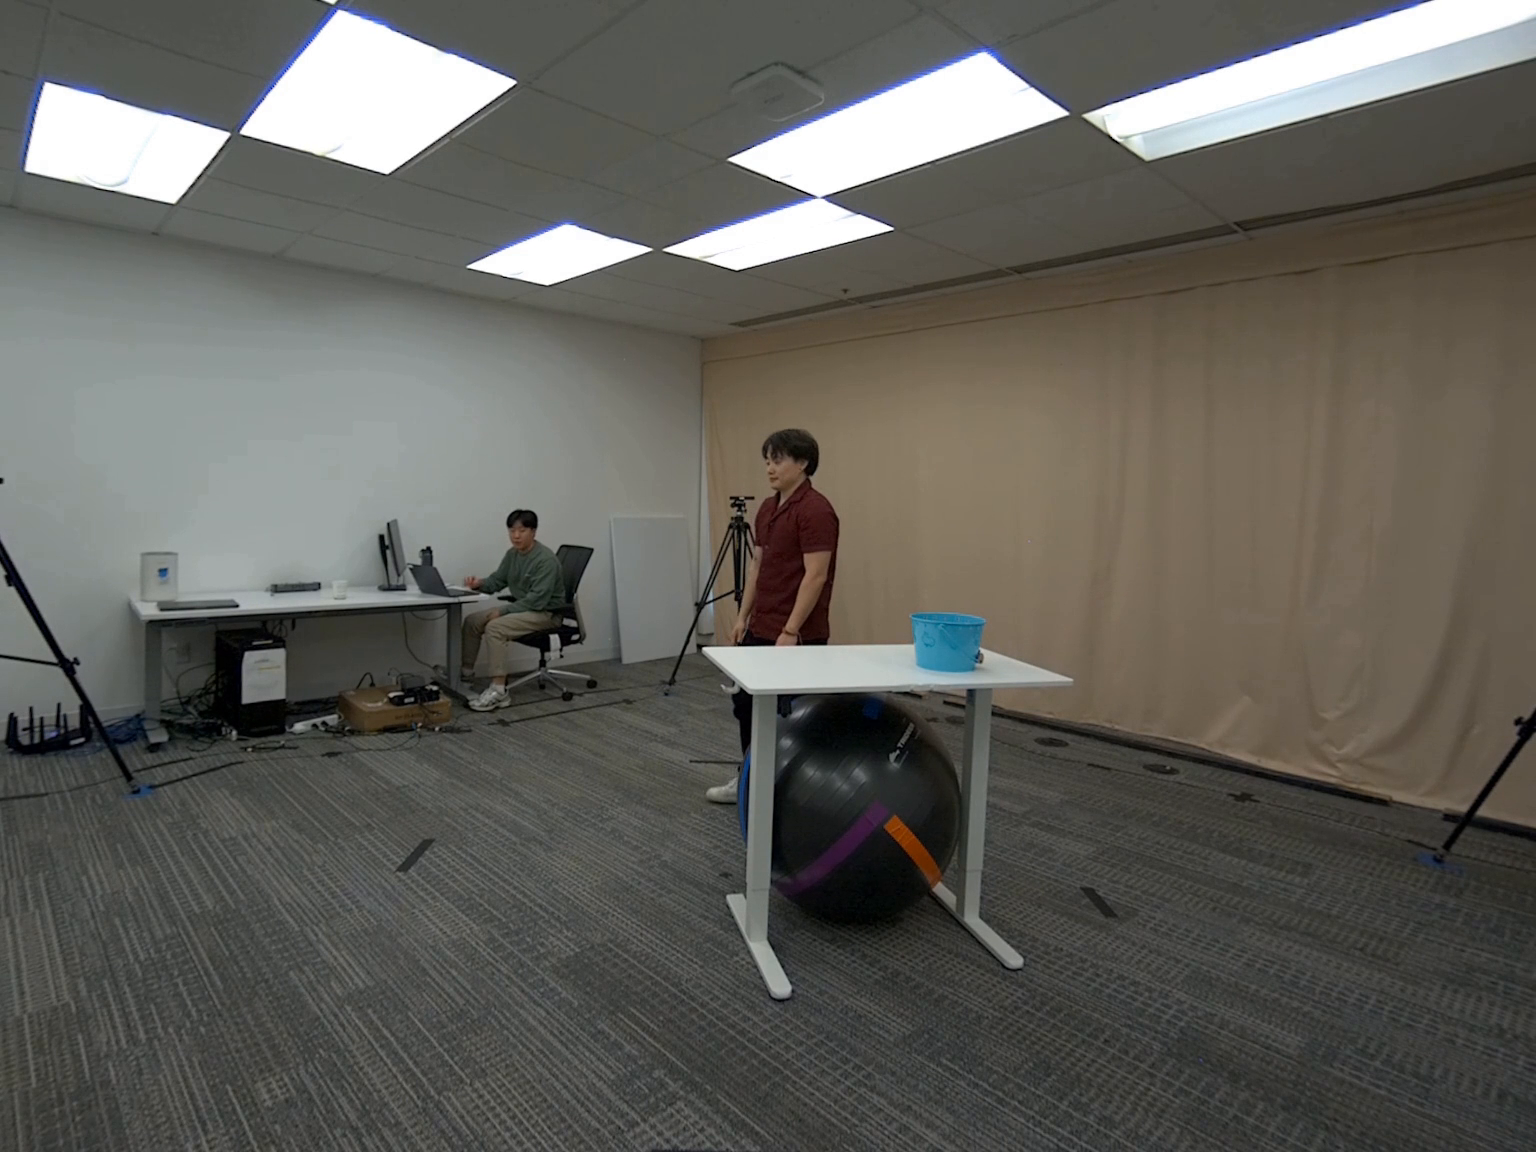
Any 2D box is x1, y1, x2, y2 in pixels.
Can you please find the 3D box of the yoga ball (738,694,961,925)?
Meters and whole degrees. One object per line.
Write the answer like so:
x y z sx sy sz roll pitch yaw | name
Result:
0.265 0.763 2.866 0.757 0.756 0.760 1 4 -1 | yoga ball
